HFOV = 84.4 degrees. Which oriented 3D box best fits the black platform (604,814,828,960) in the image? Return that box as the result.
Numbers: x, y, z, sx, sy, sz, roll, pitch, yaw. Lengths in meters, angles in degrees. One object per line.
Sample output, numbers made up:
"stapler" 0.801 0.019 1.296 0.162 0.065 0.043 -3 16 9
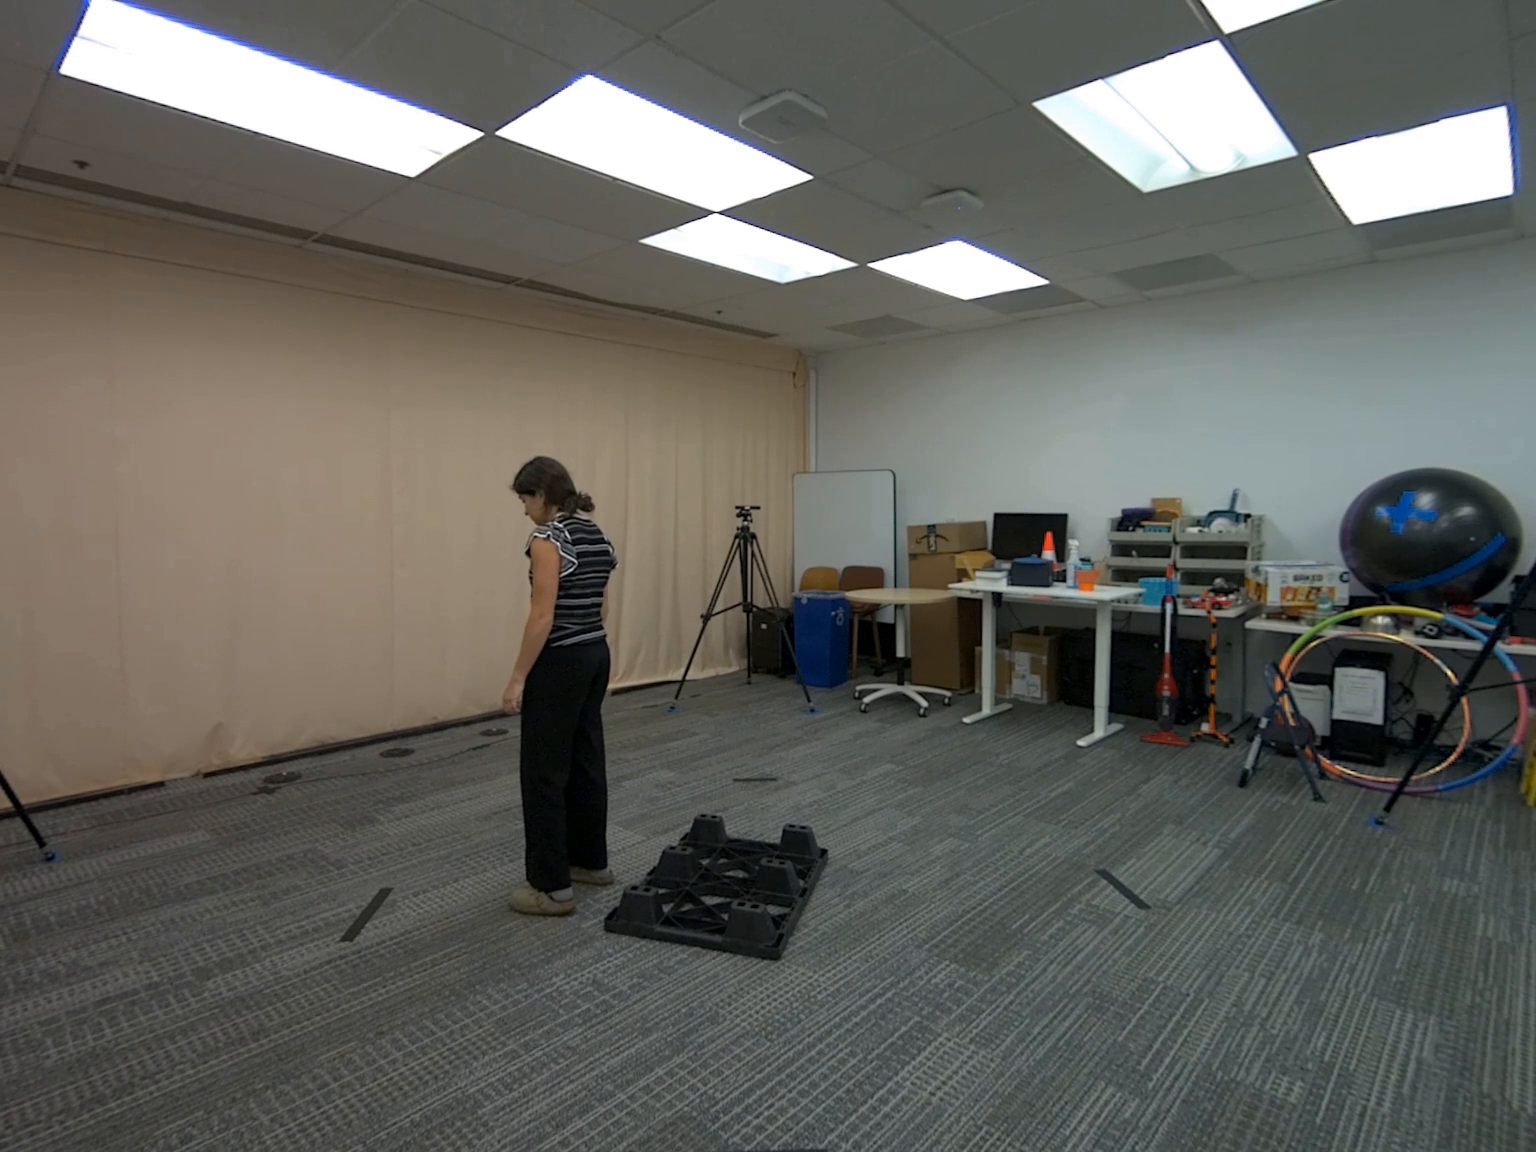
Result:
"black platform" -0.147 1.074 3.031 0.616 0.143 0.793 1 5 16
